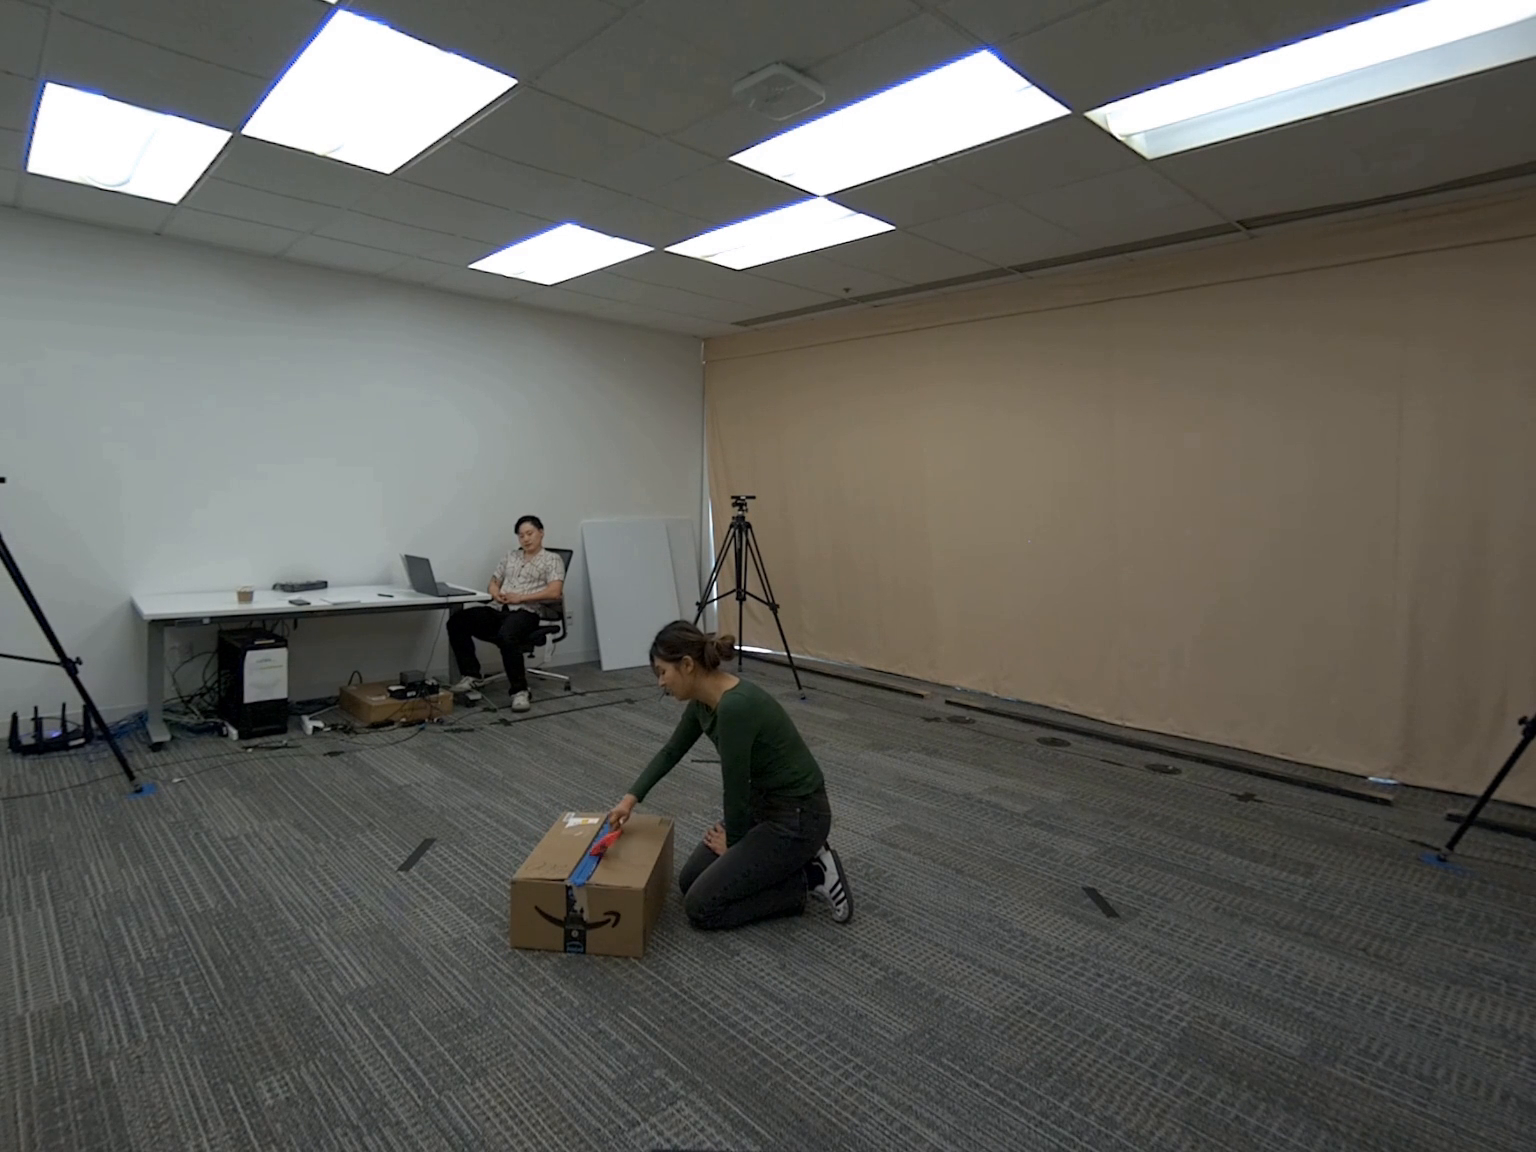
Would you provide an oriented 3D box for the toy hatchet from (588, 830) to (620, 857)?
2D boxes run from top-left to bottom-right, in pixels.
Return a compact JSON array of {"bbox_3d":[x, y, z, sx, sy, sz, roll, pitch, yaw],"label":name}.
[{"bbox_3d":[-0.545,0.860,2.825,0.131,0.029,0.270,-44,2,-6],"label":"toy hatchet"}]
